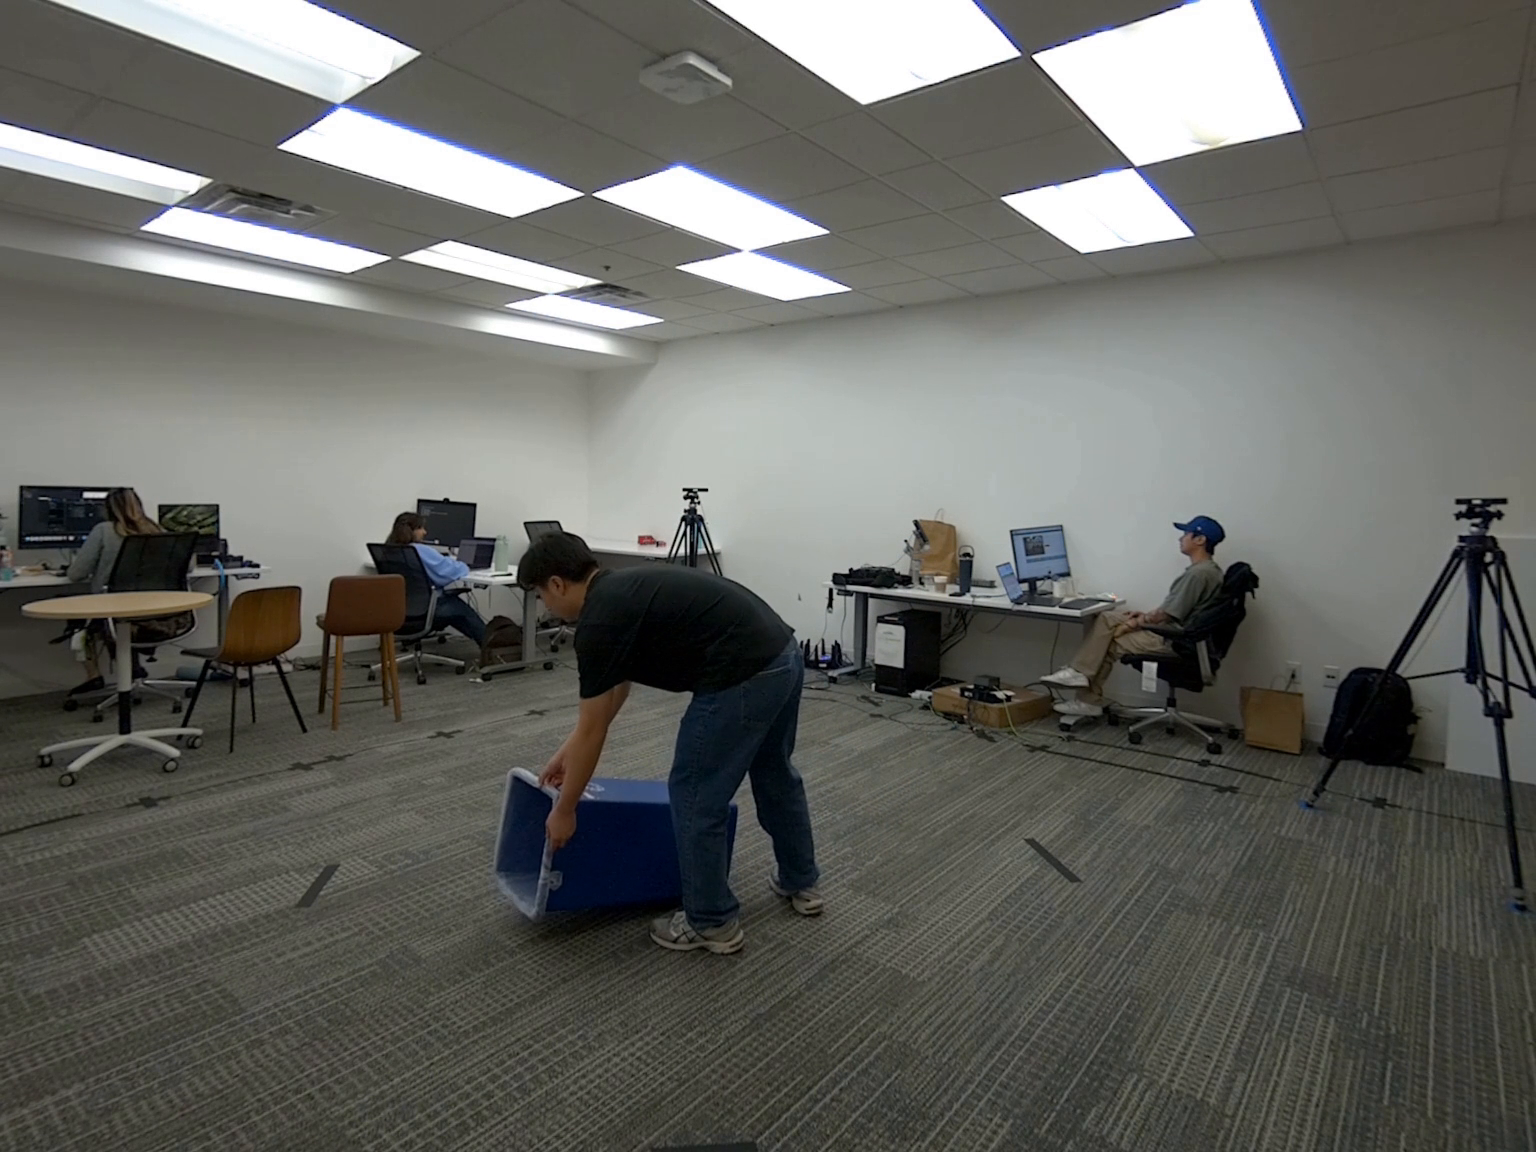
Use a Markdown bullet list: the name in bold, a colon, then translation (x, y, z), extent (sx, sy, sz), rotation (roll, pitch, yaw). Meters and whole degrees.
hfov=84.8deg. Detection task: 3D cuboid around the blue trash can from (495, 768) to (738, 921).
- **blue trash can**: translation (-0.508, 0.874, 2.853), extent (0.689, 0.379, 0.386), rotation (12, -5, -35)
